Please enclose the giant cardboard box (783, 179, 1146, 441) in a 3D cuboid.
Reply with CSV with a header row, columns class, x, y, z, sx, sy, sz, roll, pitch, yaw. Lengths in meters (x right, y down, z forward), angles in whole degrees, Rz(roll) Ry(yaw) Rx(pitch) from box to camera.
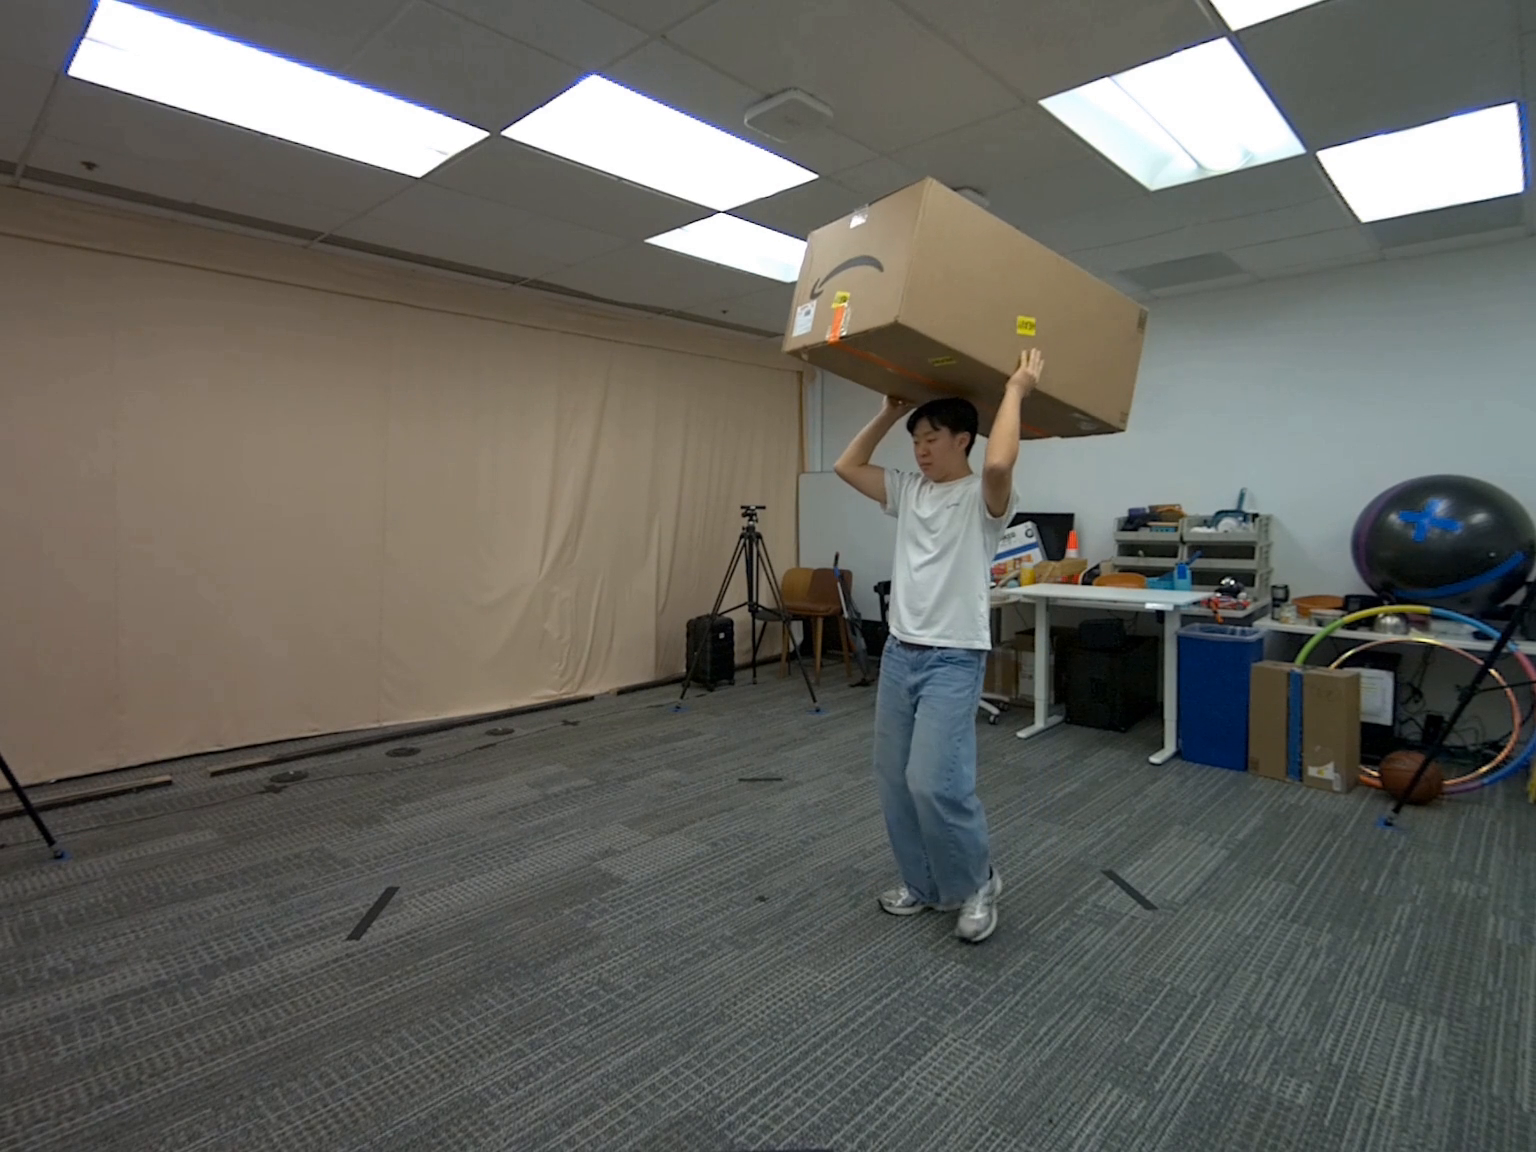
class,x,y,z,sx,sy,sz,roll,pitch,yaw
giant cardboard box,0.662,-0.801,2.781,0.995,0.427,0.594,14,-4,-30
